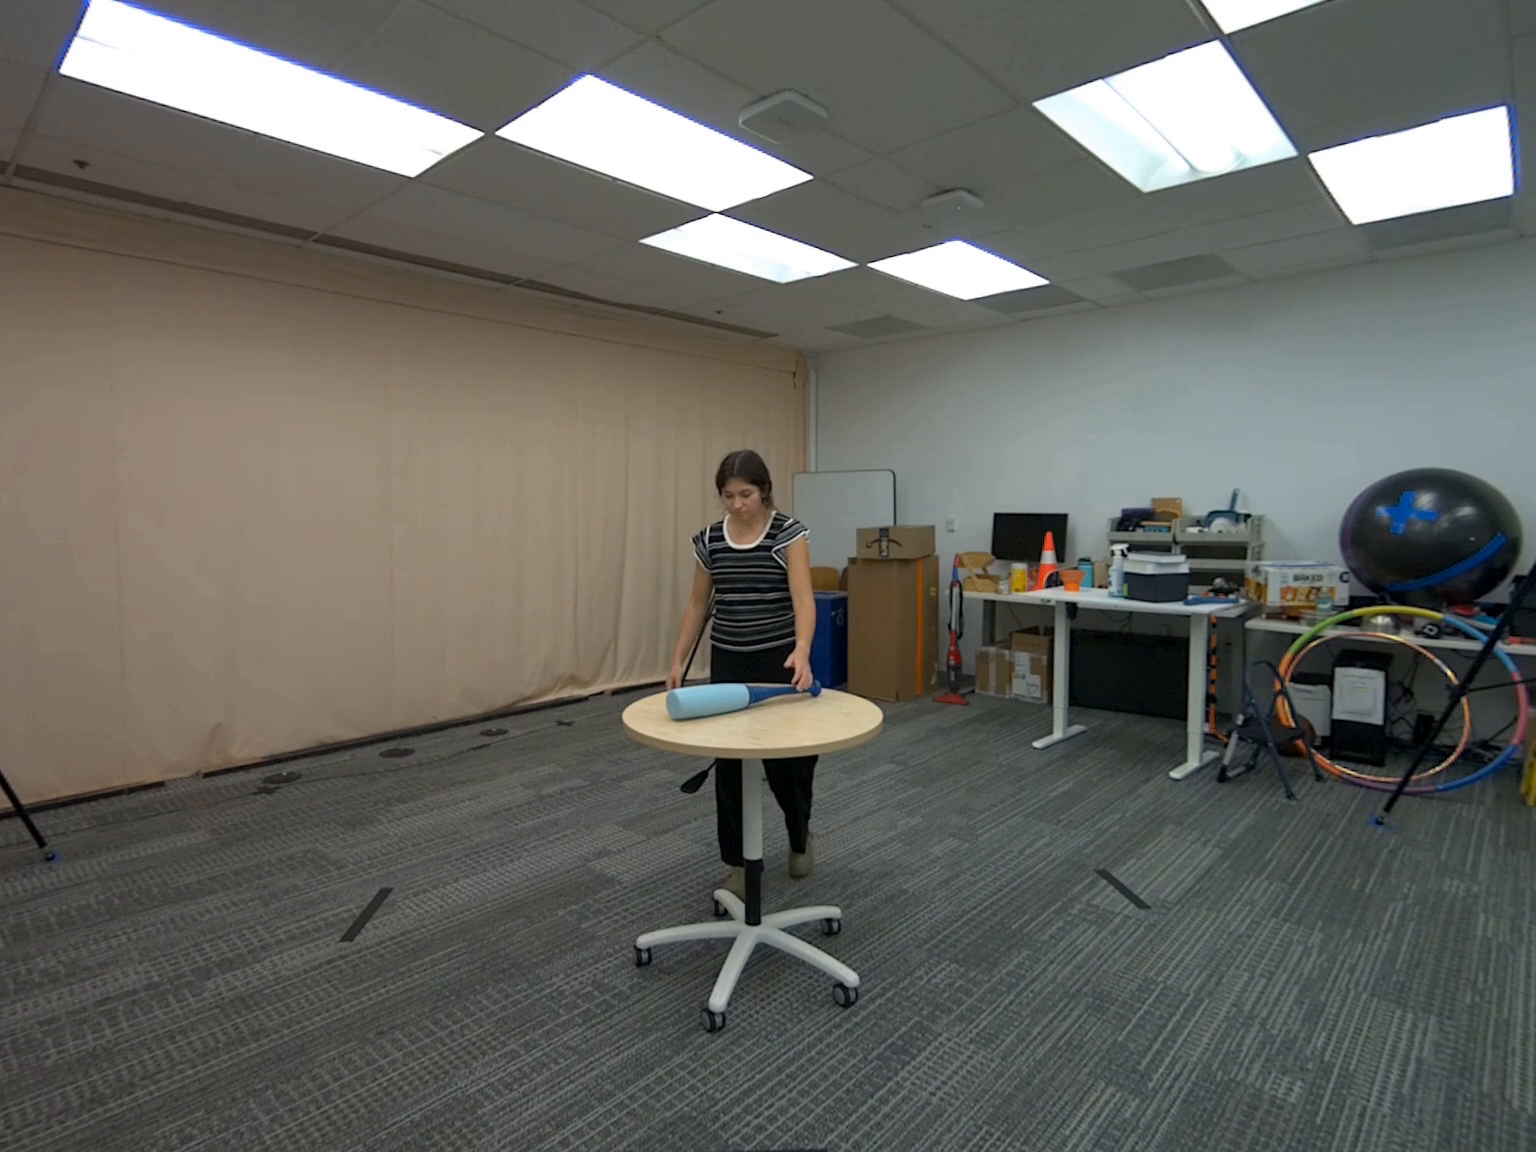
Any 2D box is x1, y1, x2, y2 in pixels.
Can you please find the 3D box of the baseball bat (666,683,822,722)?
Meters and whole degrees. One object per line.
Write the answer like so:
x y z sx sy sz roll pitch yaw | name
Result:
-0.053 0.358 2.538 0.527 0.089 0.092 -2 4 -33 | baseball bat
